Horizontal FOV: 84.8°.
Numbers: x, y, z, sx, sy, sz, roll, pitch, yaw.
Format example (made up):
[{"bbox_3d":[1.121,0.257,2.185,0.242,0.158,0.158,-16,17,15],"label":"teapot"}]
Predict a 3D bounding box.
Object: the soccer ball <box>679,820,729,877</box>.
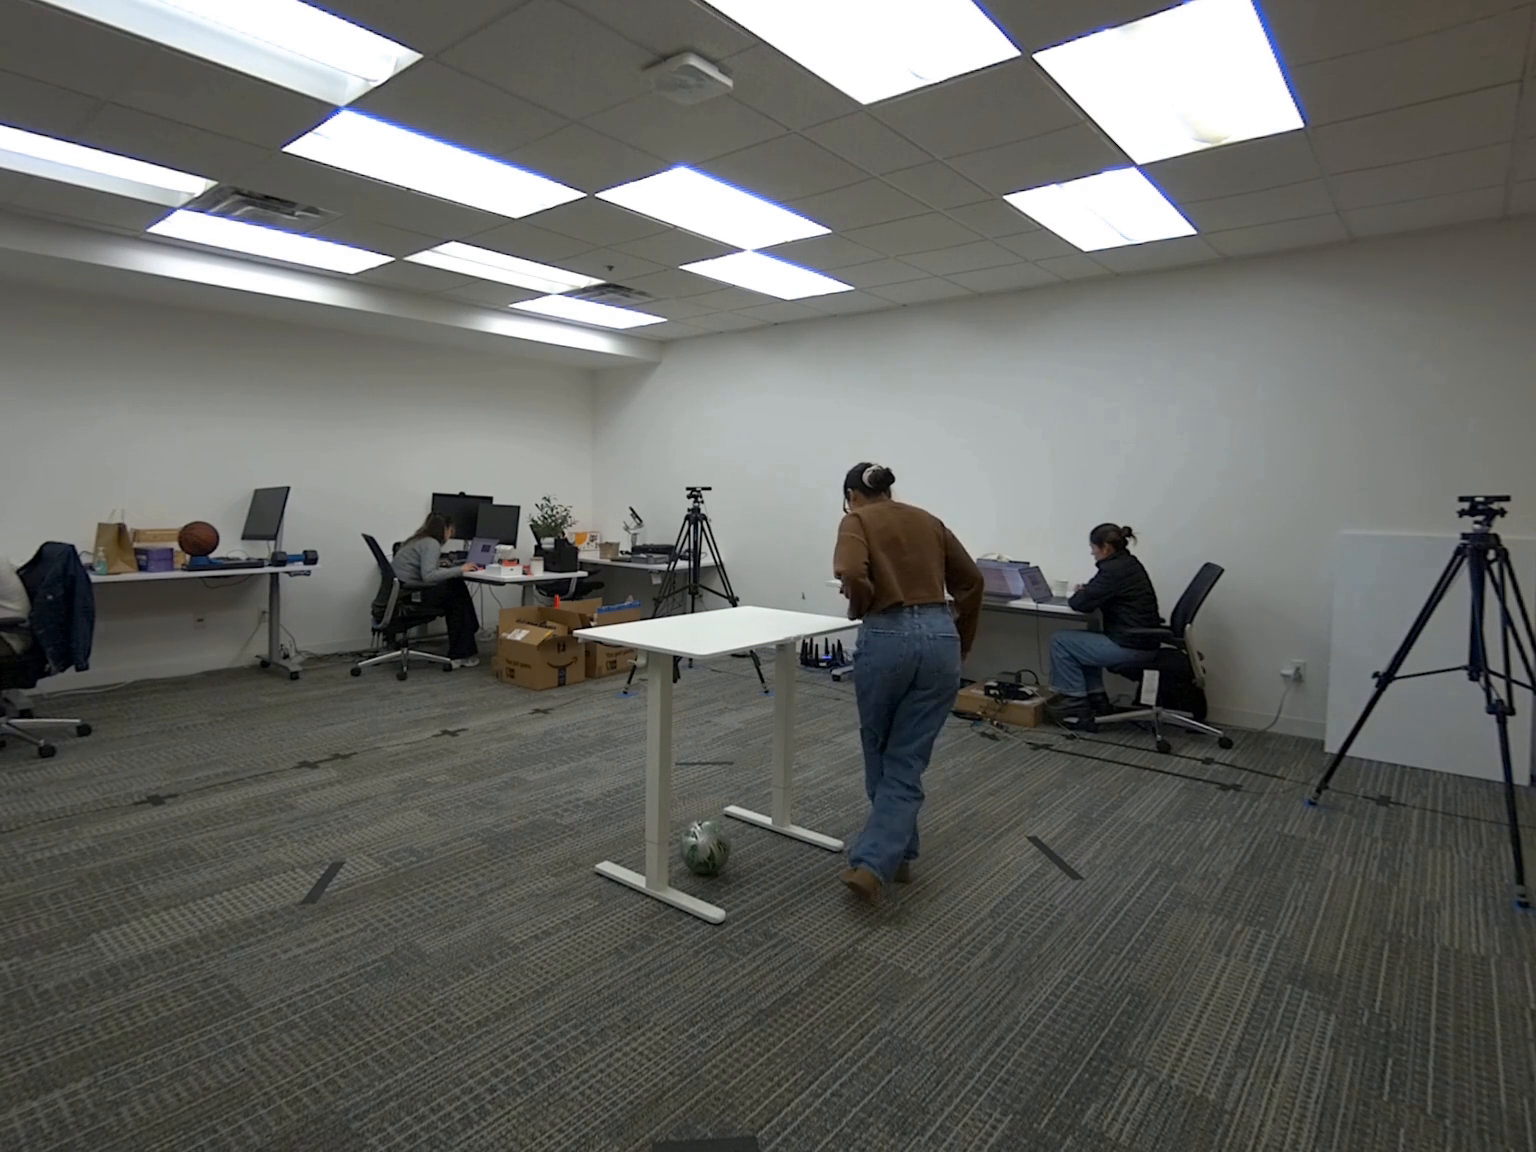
[{"bbox_3d":[-0.239,0.977,3.078,0.187,0.187,0.188,1,4,-2],"label":"soccer ball"}]
